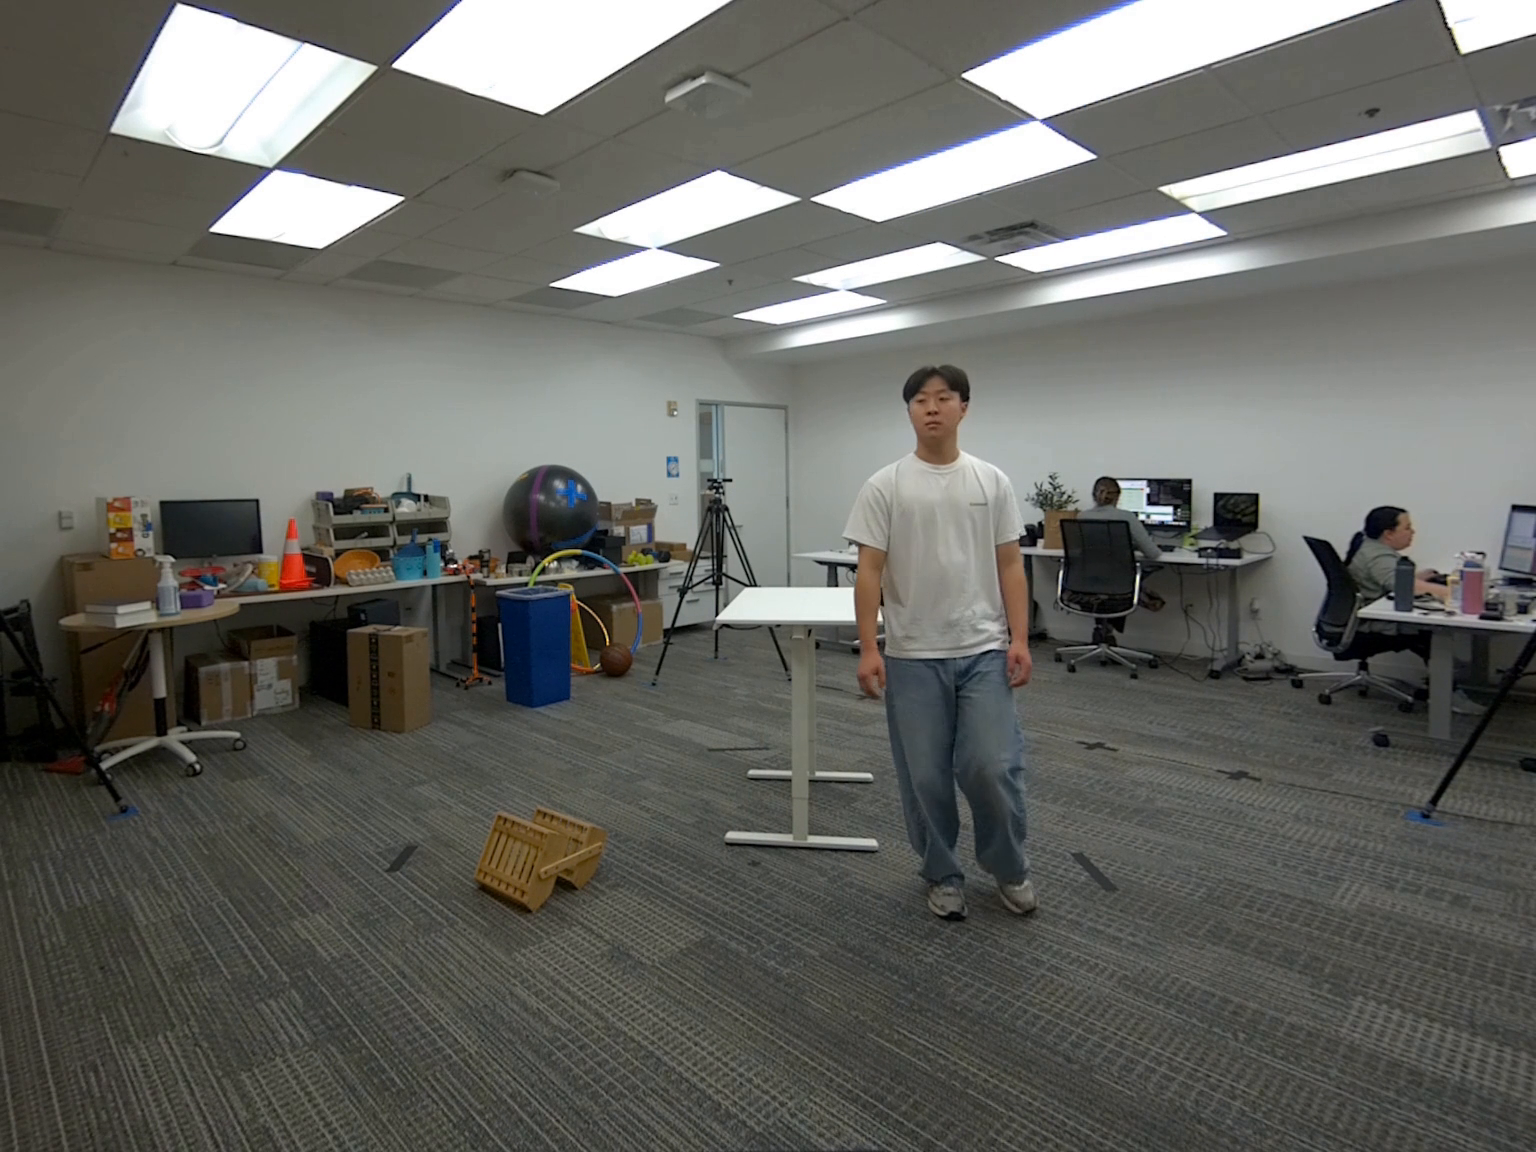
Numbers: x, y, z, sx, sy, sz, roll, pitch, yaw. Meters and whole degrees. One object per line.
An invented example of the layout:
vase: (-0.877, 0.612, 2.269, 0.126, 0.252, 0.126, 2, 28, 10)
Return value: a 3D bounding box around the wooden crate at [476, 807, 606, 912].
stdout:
wooden crate: (-0.787, 0.982, 2.990, 0.334, 0.305, 0.263, 3, -21, 39)
